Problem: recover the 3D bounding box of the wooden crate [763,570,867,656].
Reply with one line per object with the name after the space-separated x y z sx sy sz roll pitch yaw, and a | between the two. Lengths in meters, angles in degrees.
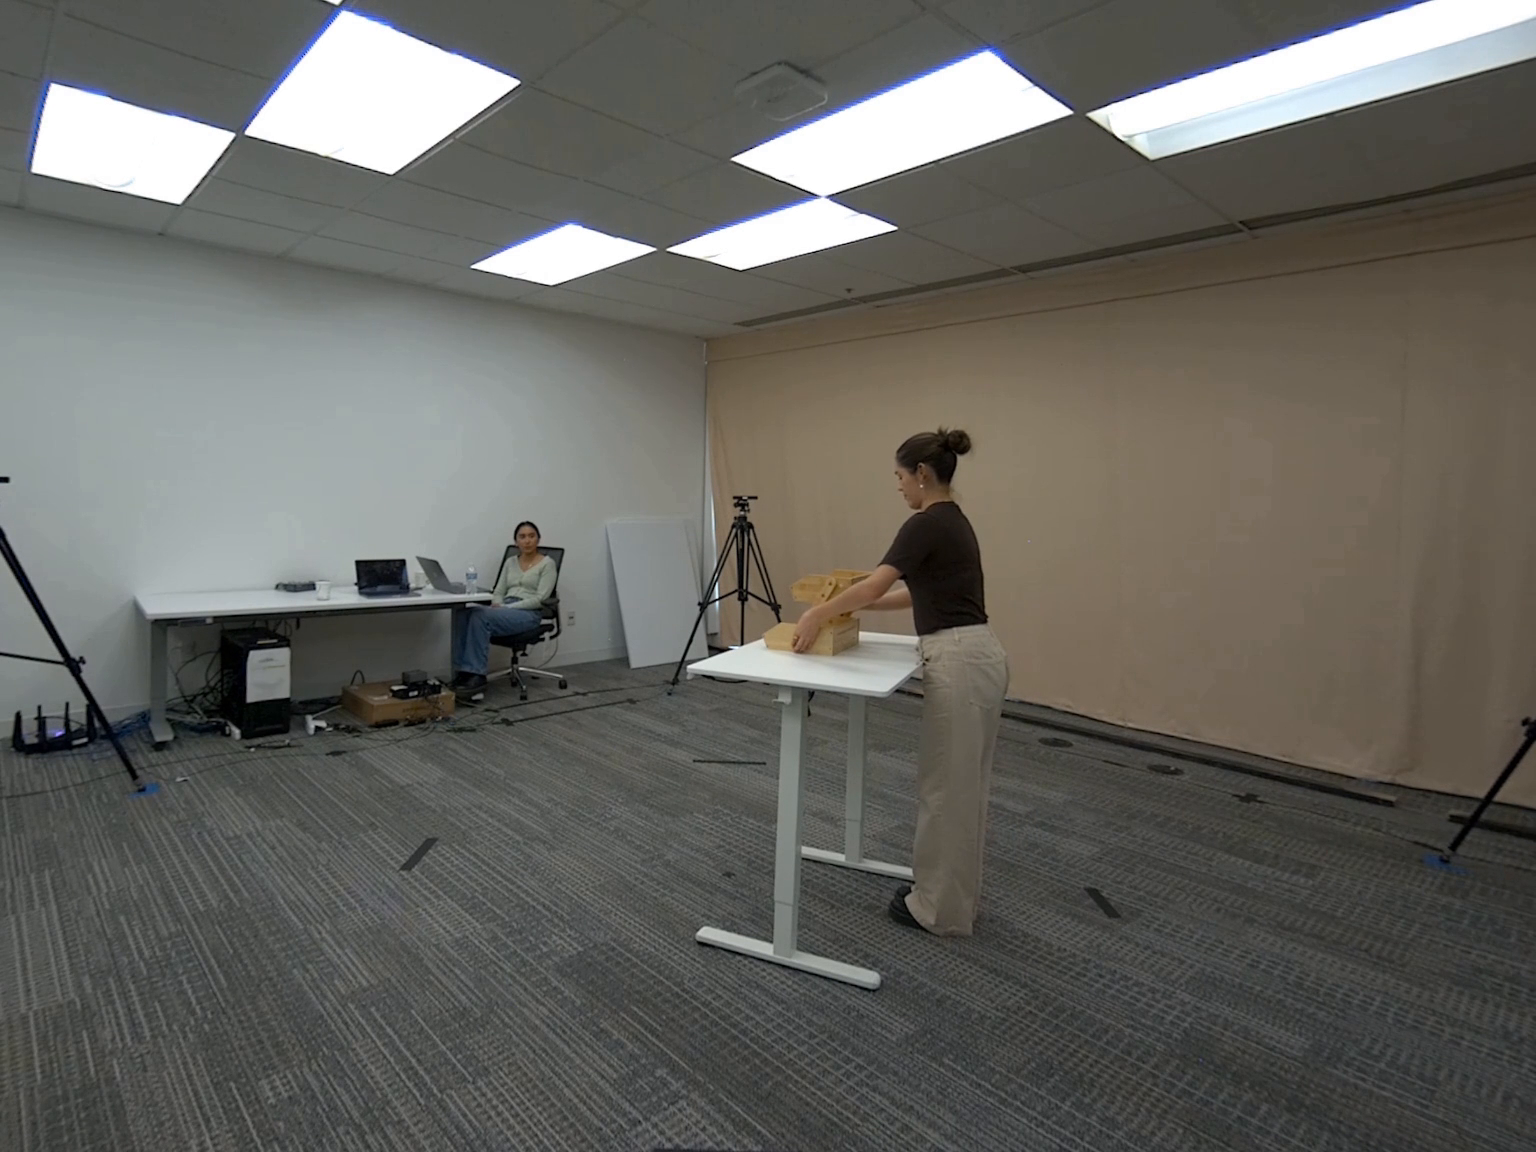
0.180 0.115 2.906 0.308 0.272 0.319 5 5 24 | wooden crate
